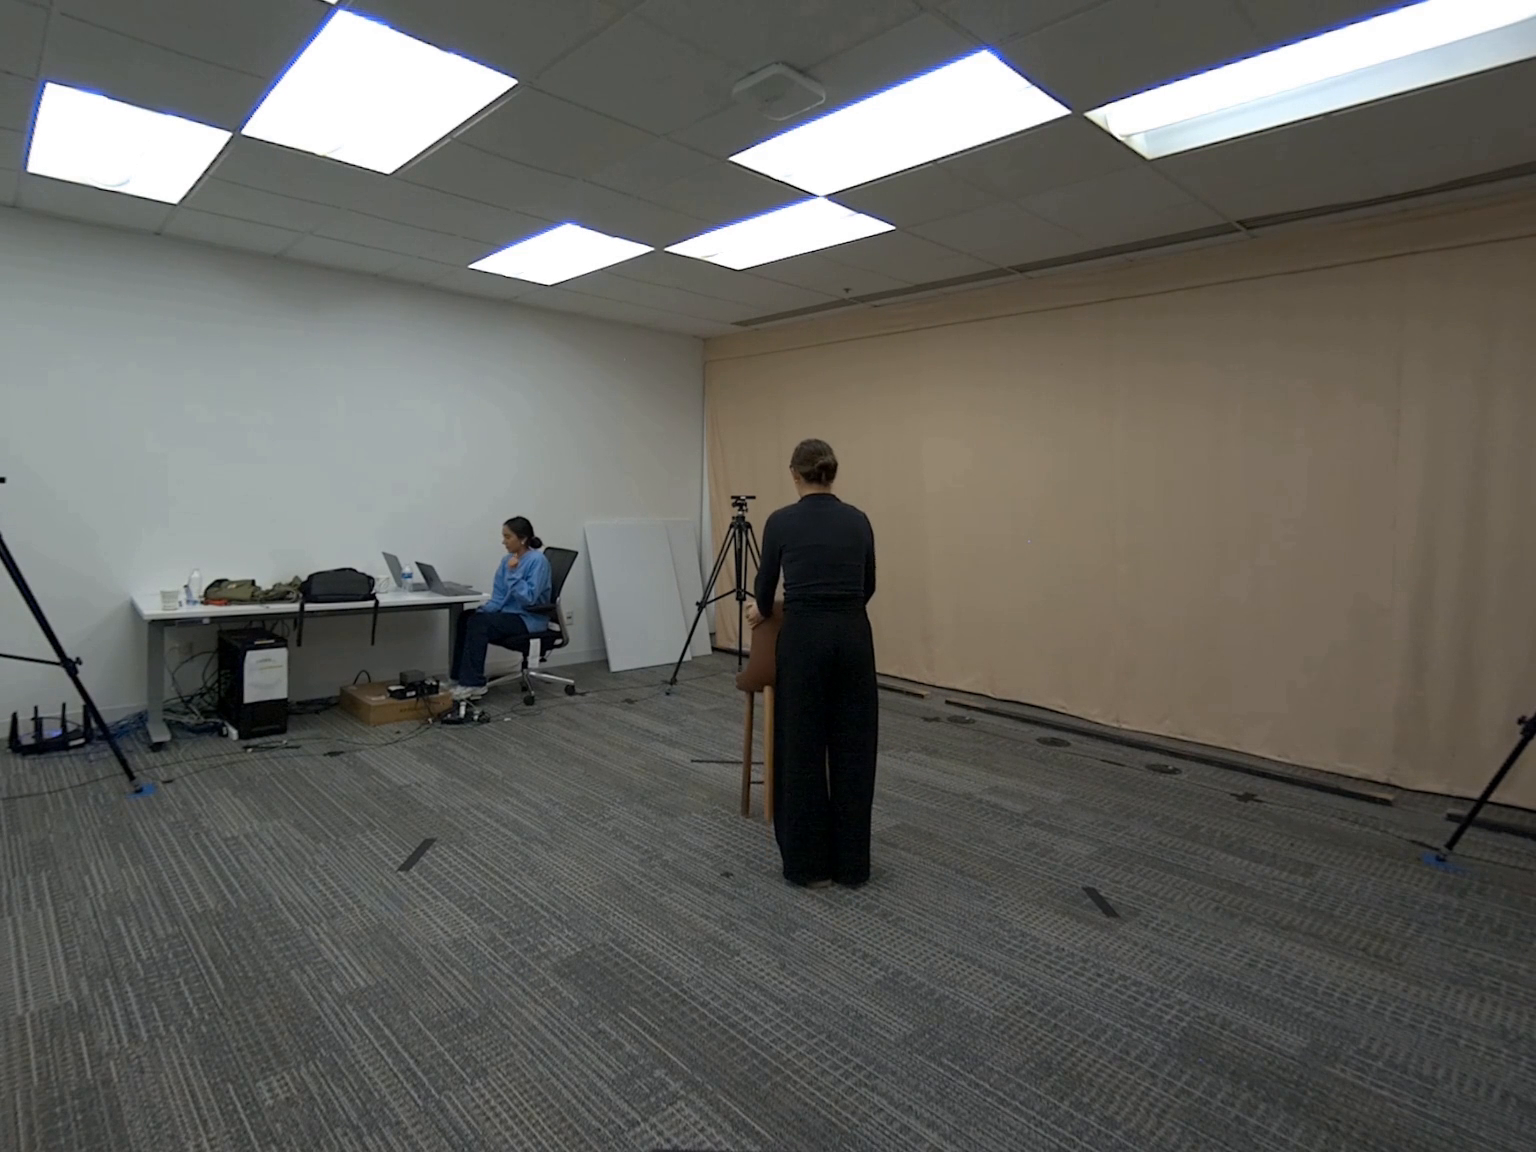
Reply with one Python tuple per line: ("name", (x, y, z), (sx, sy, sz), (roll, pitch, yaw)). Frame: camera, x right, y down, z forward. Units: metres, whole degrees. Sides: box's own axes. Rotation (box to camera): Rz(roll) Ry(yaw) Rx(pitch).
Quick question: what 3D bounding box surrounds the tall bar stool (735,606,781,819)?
("tall bar stool", (0.112, 0.581, 3.616), (0.452, 0.898, 0.467), (1, -12, -12))
